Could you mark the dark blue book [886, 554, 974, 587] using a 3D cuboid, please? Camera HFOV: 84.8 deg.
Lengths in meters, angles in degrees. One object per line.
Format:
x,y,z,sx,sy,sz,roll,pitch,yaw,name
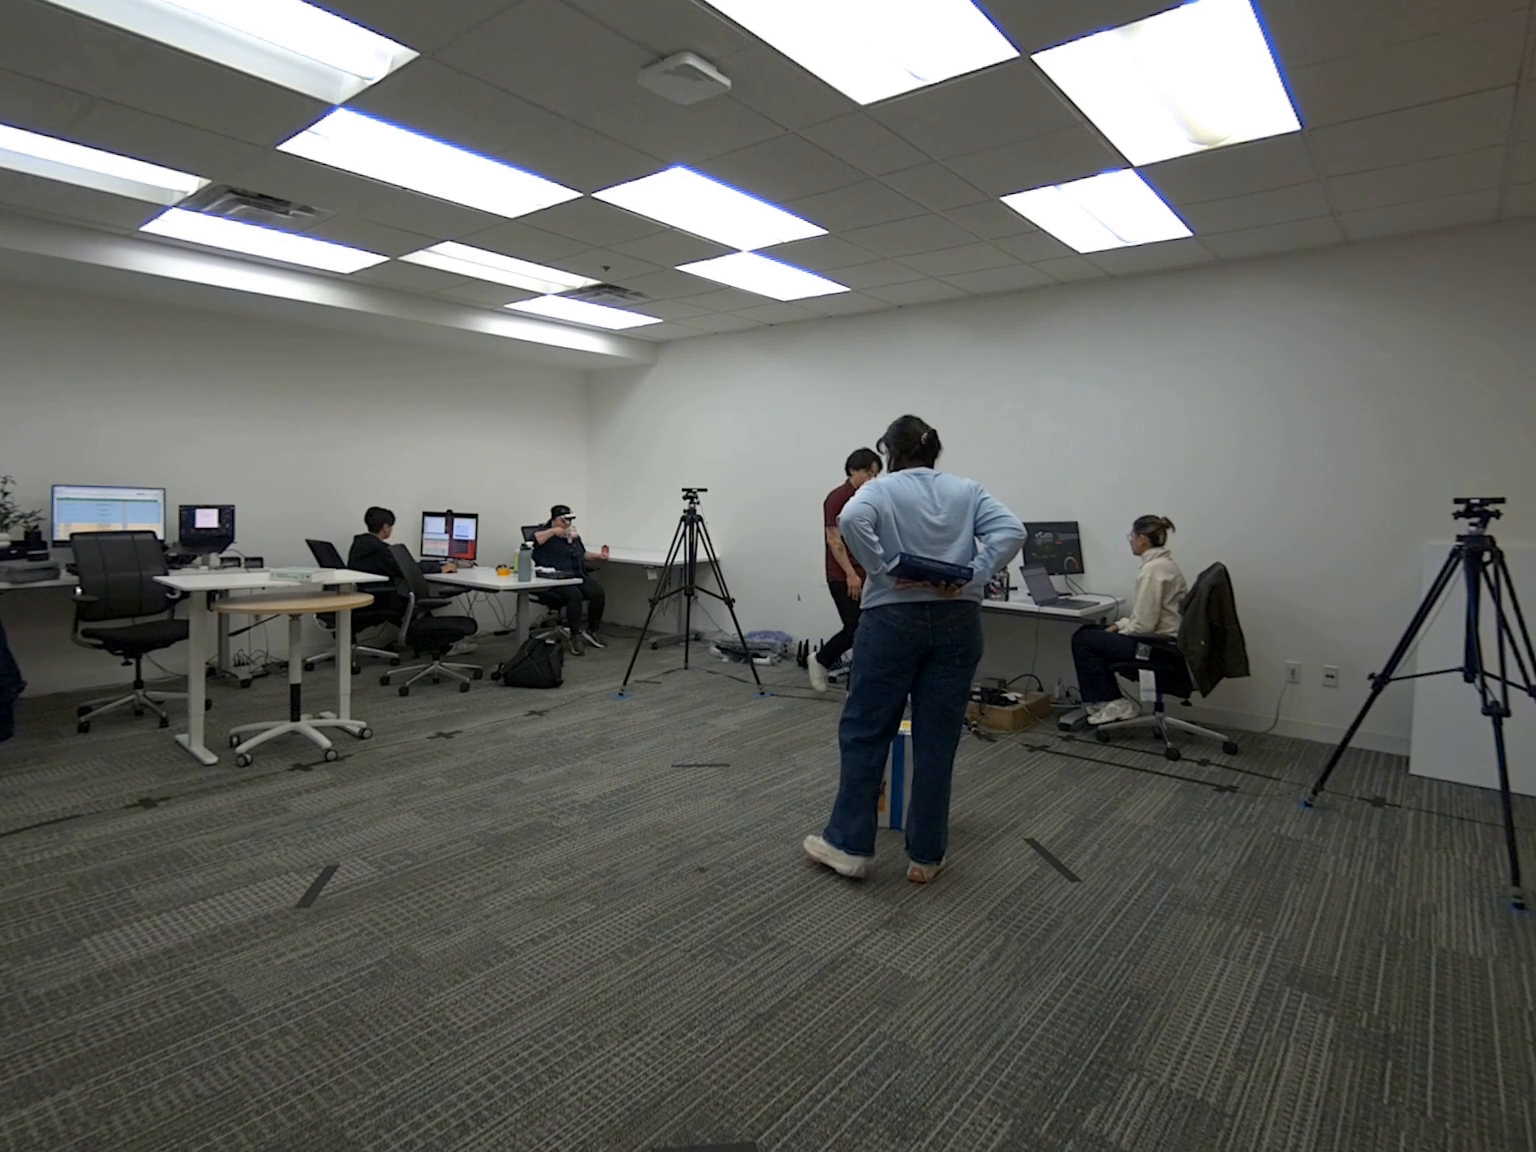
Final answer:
0.525,-0.022,2.798,0.246,0.045,0.161,13,-13,2,dark blue book
